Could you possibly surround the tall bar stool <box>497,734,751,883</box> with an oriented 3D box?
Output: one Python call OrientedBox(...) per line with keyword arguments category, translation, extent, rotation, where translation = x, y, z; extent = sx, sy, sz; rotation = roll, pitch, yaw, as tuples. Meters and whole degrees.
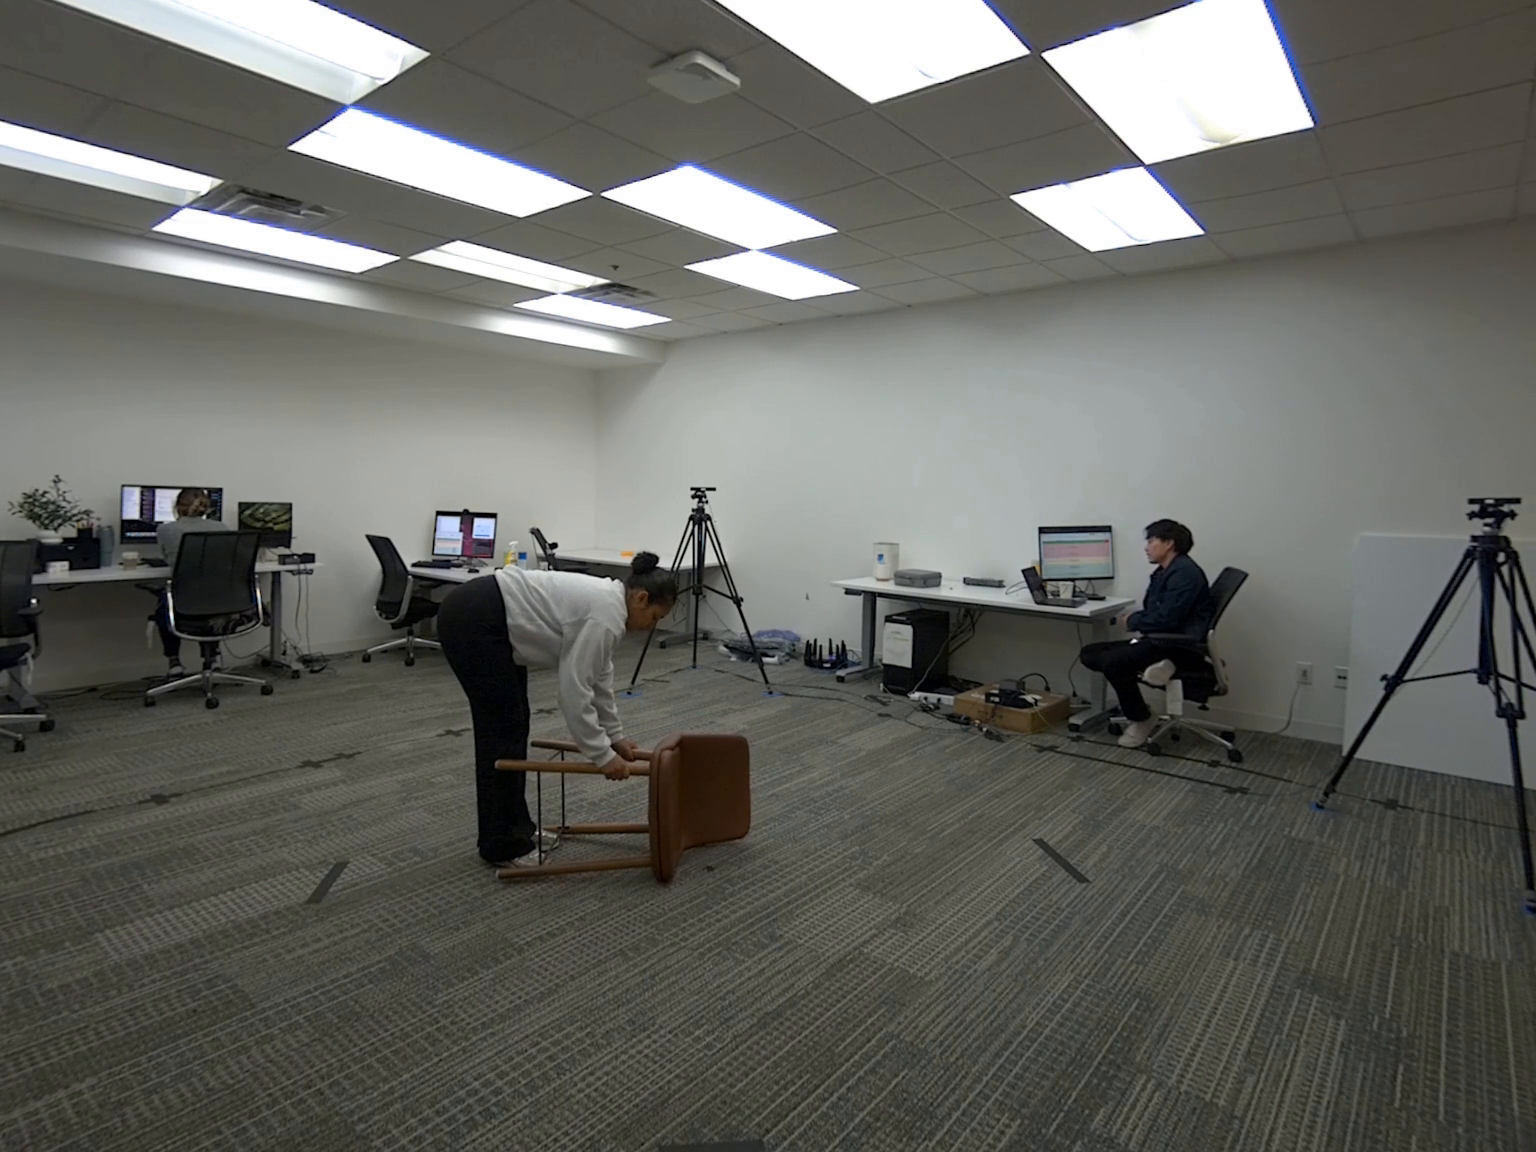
OrientedBox(category="tall bar stool", translation=(-0.521, 0.844, 3.159), extent=(0.891, 0.457, 0.467), rotation=(0, 0, 1))
